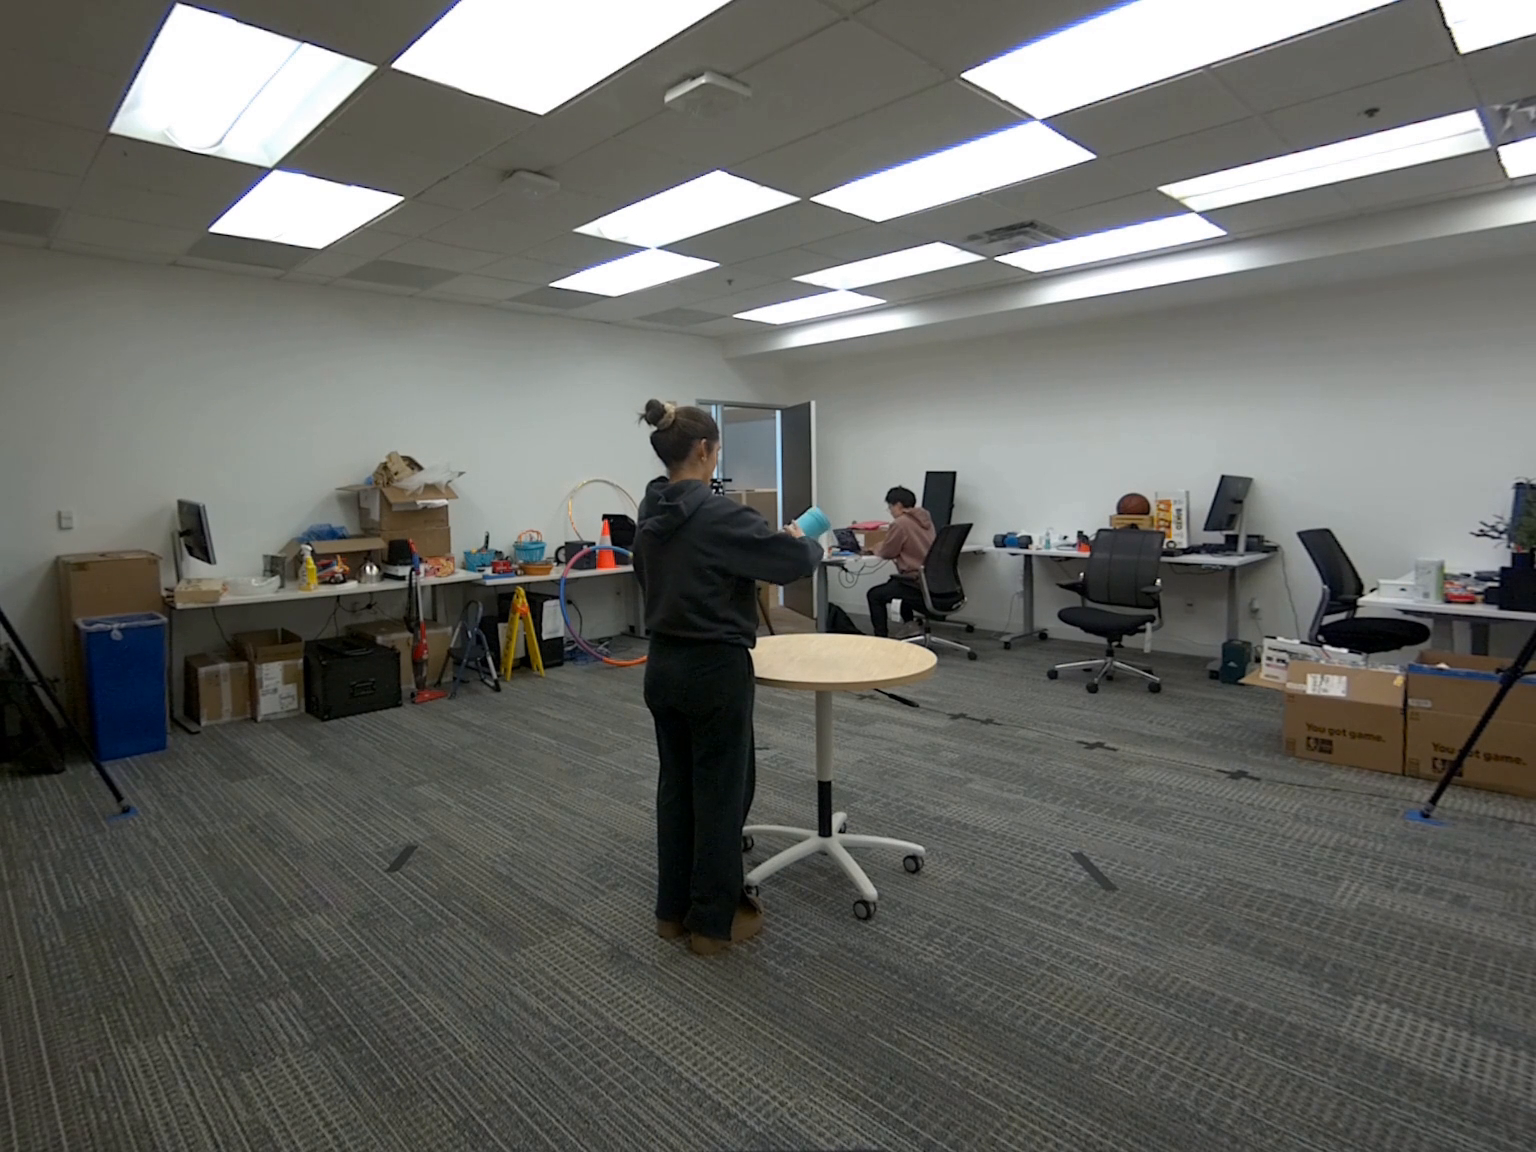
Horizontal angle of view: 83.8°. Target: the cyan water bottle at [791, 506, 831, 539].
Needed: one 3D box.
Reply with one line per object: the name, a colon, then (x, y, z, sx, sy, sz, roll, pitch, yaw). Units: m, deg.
cyan water bottle: (0.072, -0.106, 2.771, 0.283, 0.091, 0.093, -39, 10, -6)
